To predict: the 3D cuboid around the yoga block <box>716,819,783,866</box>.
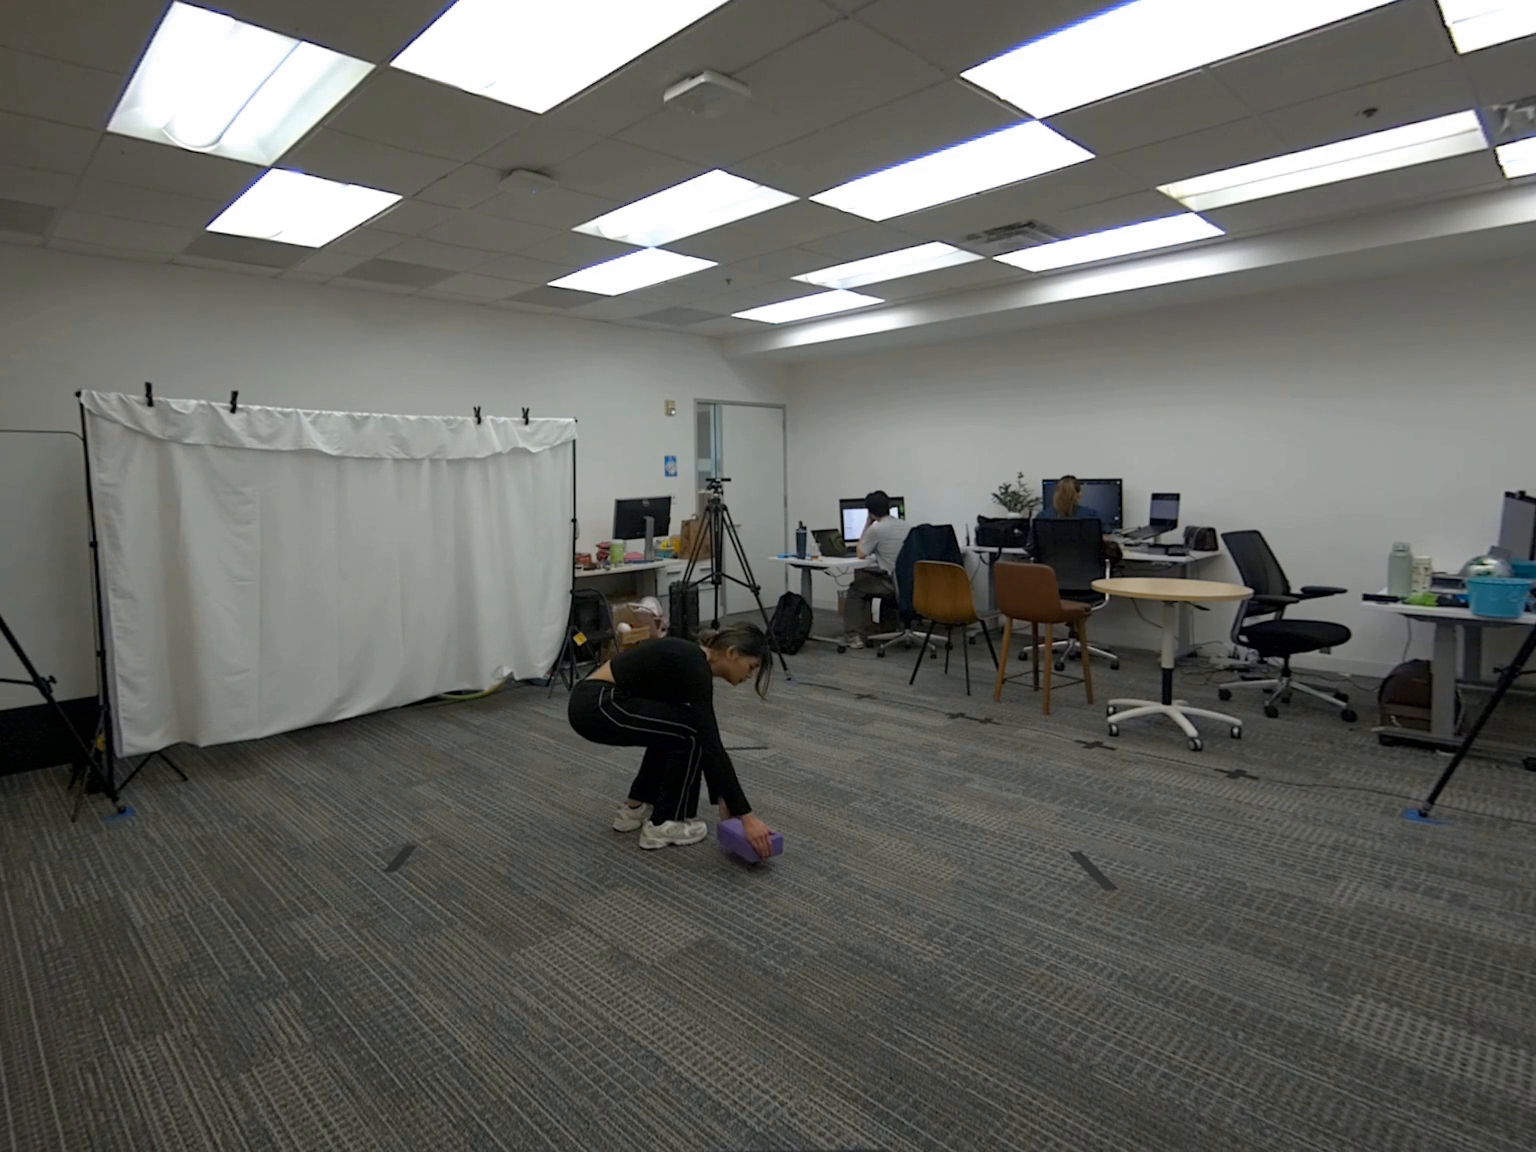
[{"bbox_3d":[-0.062,0.947,3.120,0.145,0.076,0.236,-5,8,-34],"label":"yoga block"}]
